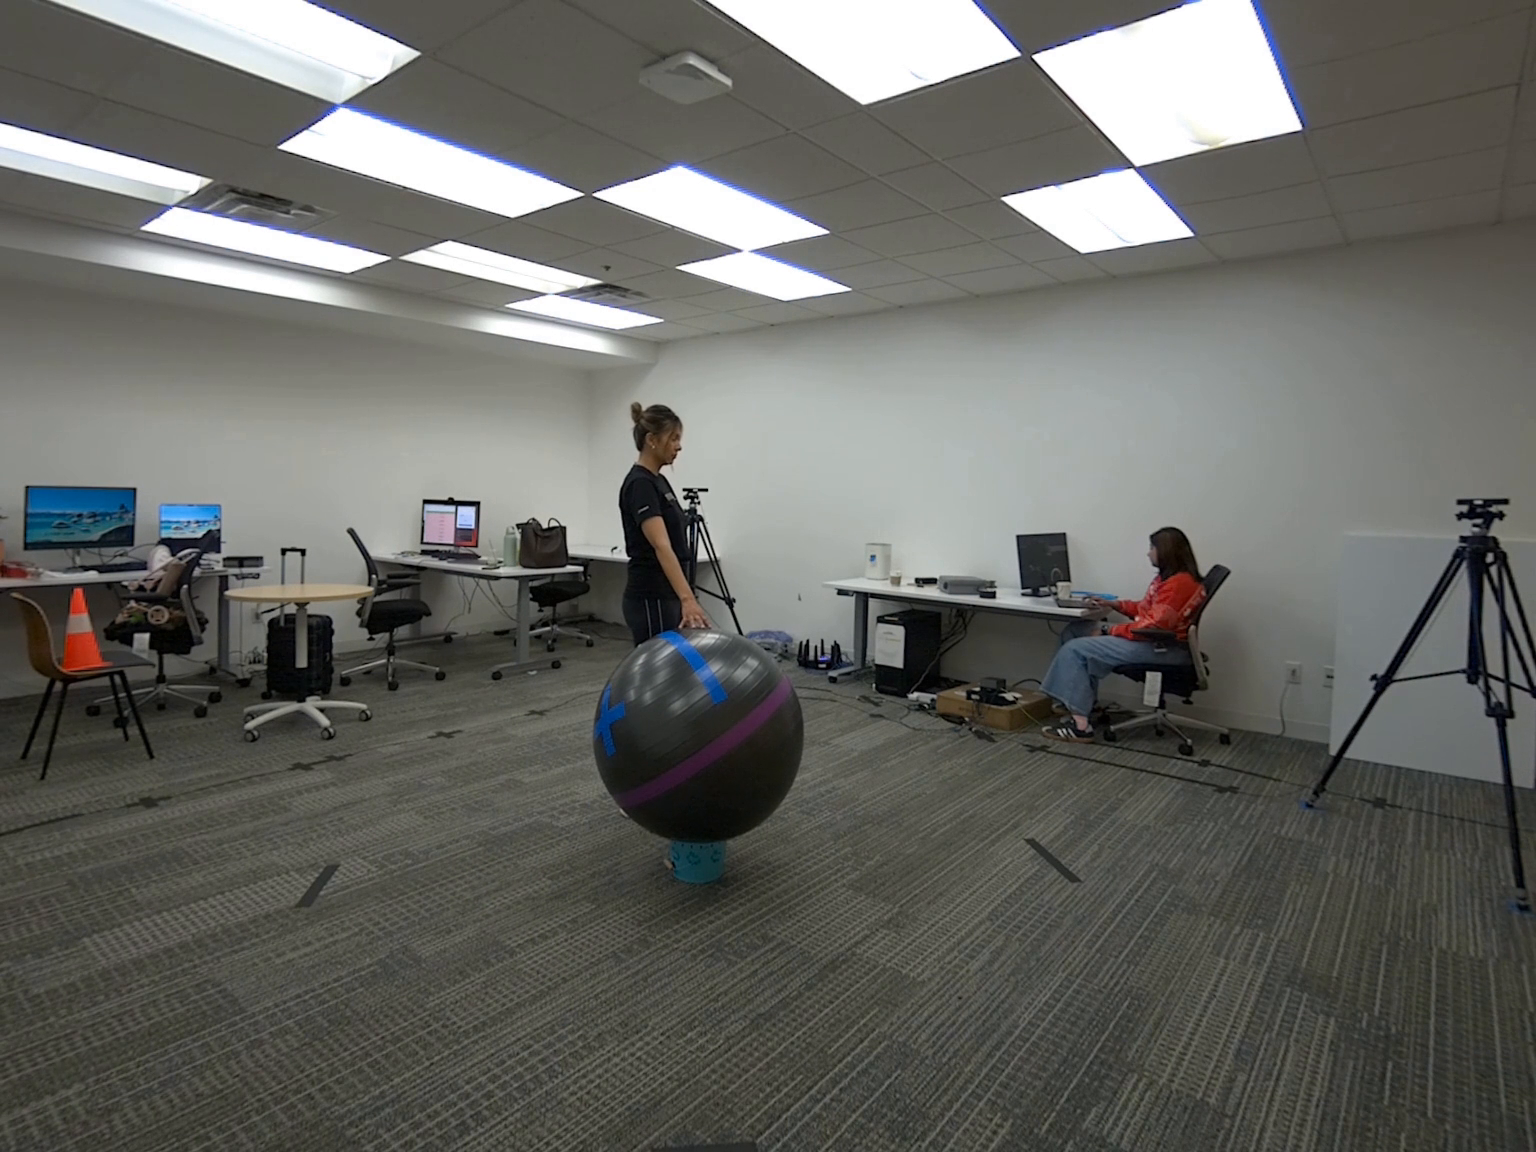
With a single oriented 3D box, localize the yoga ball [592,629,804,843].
[{"bbox_3d":[-0.263,0.564,3.067,0.757,0.755,0.762,1,4,-2],"label":"yoga ball"}]
